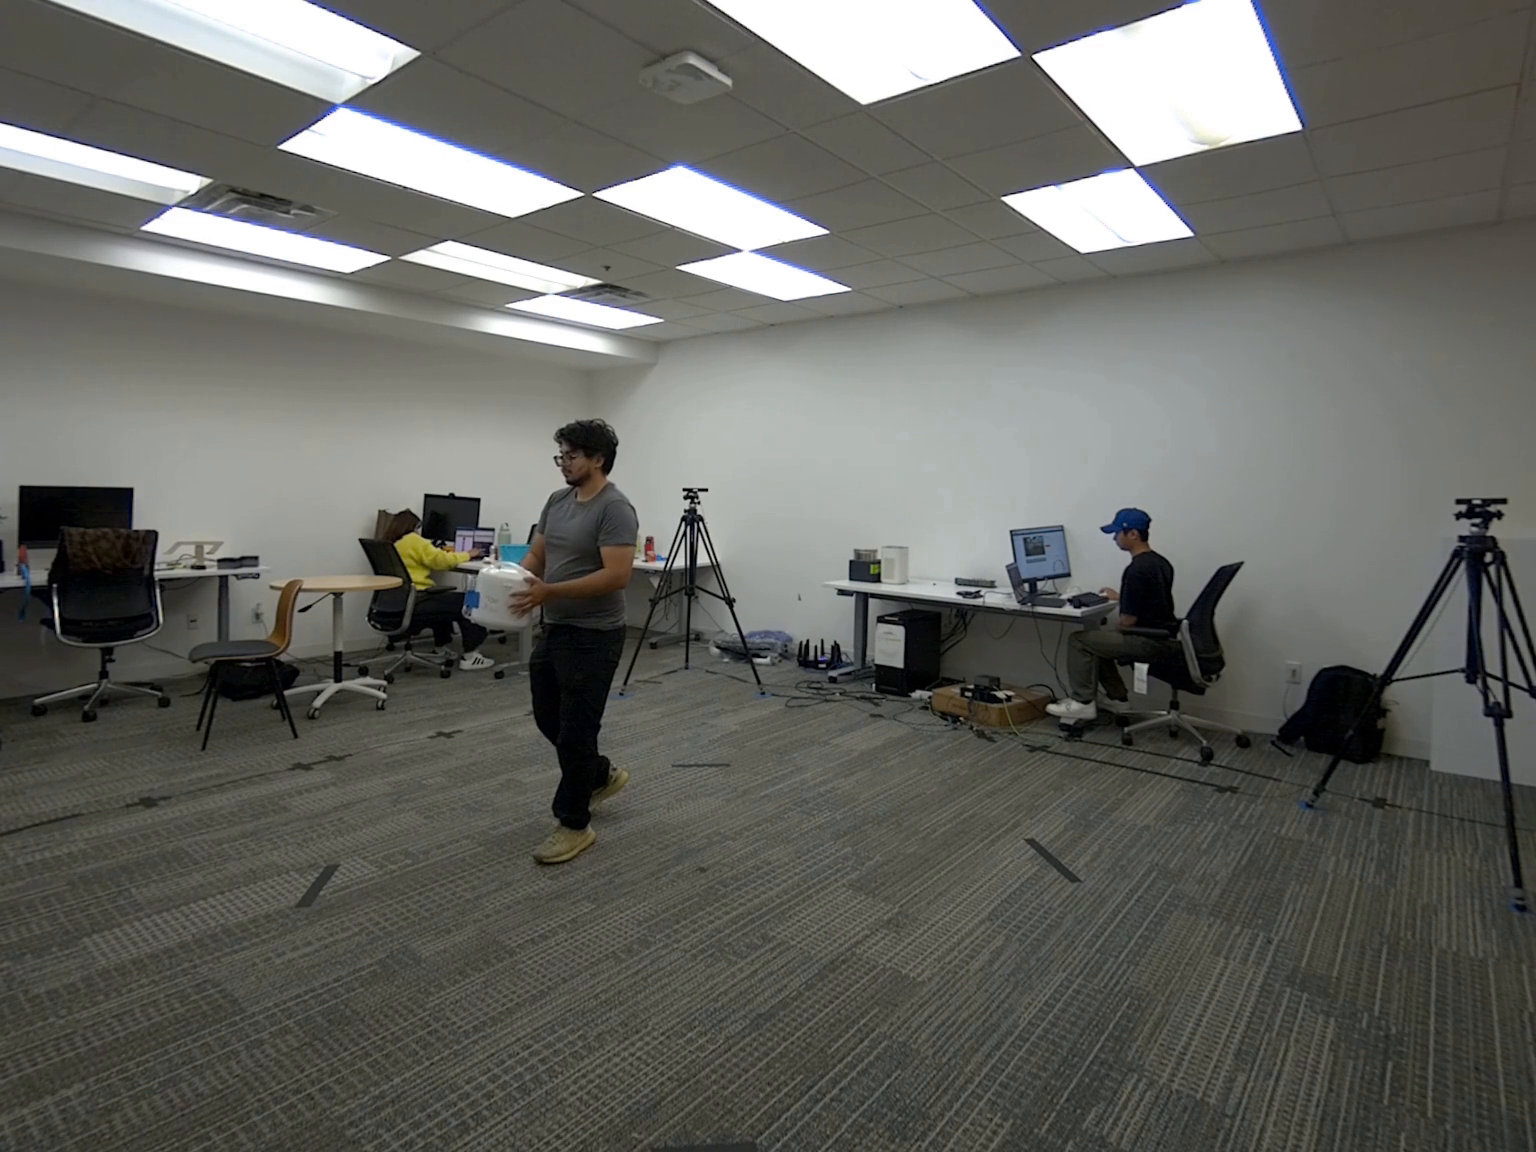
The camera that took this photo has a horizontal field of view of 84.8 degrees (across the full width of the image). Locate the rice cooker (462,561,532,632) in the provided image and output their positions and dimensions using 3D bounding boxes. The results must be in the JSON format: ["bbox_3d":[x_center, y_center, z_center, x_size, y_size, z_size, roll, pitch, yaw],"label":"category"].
[{"bbox_3d":[-0.951,0.060,3.041,0.228,0.232,0.211,11,4,32],"label":"rice cooker"}]
